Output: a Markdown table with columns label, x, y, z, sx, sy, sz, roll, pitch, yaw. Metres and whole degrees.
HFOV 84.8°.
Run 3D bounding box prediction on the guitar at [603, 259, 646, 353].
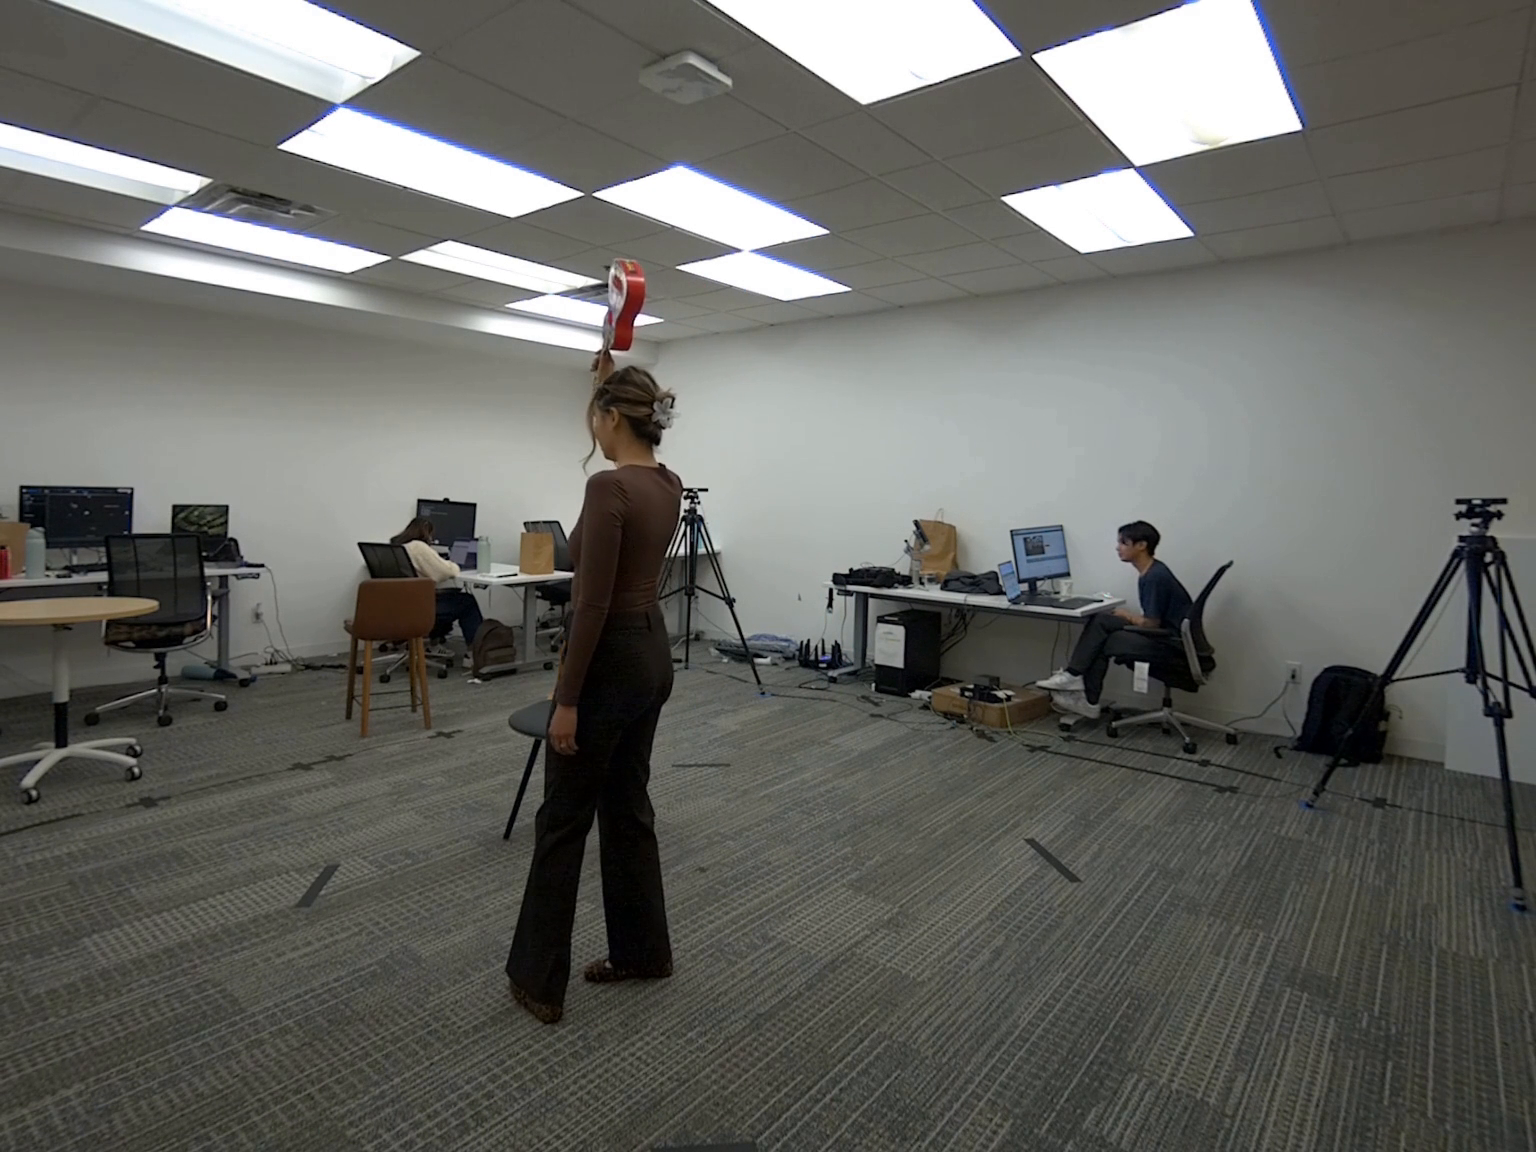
| label | x | y | z | sx | sy | sz | roll | pitch | yaw |
| --- | --- | --- | --- | --- | --- | --- | --- | --- | --- |
| guitar | -0.499 | -0.763 | 2.693 | 0.069 | 0.200 | 0.492 | 1 | -40 | -25 |
